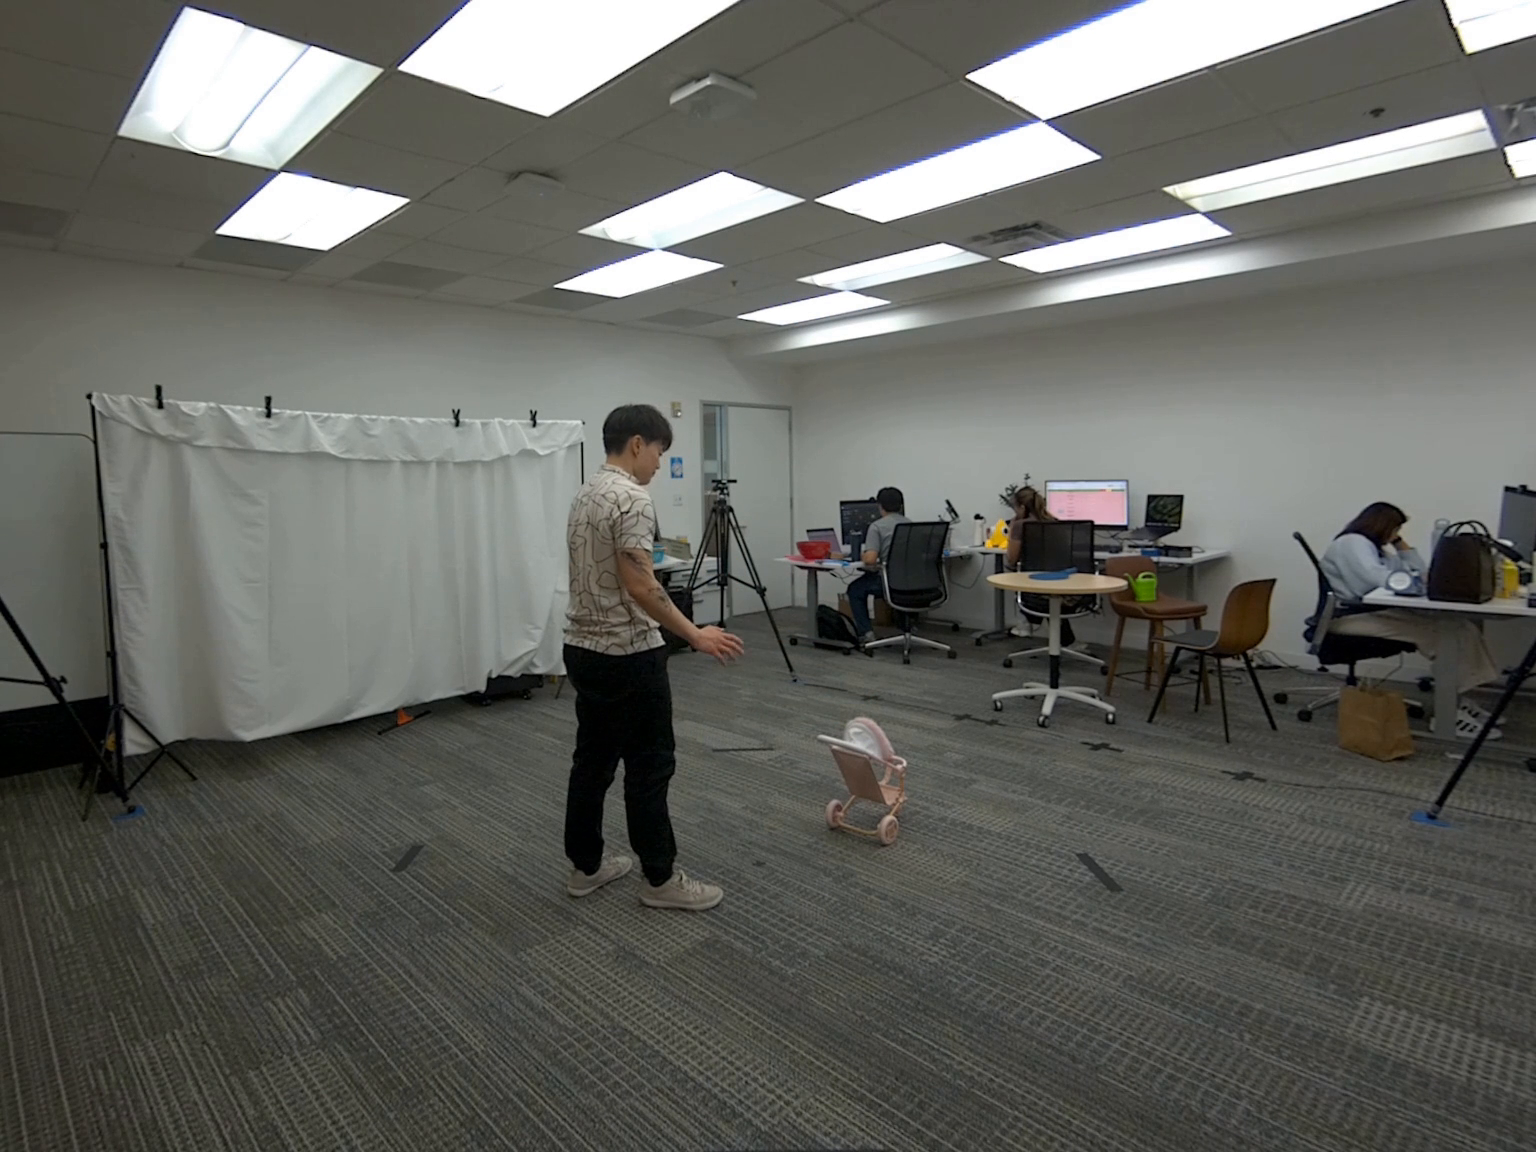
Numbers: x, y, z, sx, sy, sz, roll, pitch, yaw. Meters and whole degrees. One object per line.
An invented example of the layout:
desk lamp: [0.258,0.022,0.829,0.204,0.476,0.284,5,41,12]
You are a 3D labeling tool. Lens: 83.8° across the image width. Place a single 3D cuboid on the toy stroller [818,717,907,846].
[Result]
toy stroller: [0.400,0.787,3.369,0.290,0.525,0.337,4,24,46]
